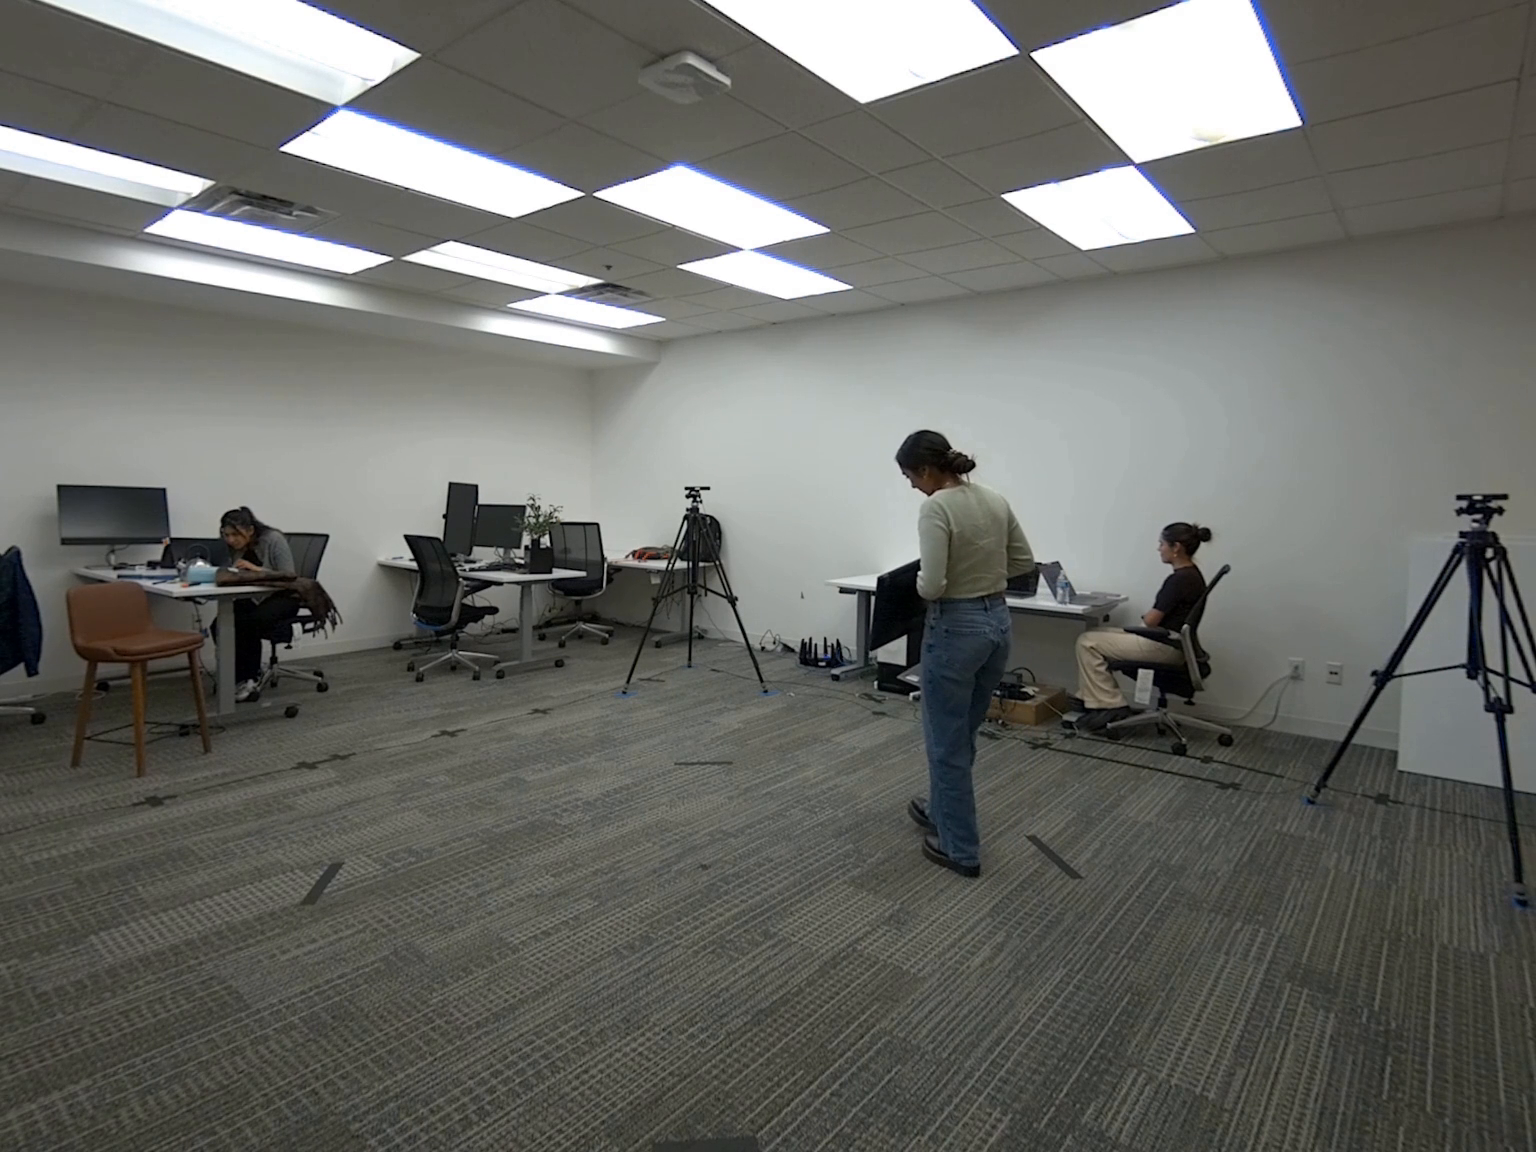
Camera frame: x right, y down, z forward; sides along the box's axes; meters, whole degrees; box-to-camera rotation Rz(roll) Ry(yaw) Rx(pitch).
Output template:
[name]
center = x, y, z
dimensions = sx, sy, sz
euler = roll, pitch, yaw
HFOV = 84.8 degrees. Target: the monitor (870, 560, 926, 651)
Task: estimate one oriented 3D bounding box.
[monitor]
center = 0.624, 0.139, 3.322
dimensions = 0.521, 0.506, 0.181
euler = -21, 20, -29
